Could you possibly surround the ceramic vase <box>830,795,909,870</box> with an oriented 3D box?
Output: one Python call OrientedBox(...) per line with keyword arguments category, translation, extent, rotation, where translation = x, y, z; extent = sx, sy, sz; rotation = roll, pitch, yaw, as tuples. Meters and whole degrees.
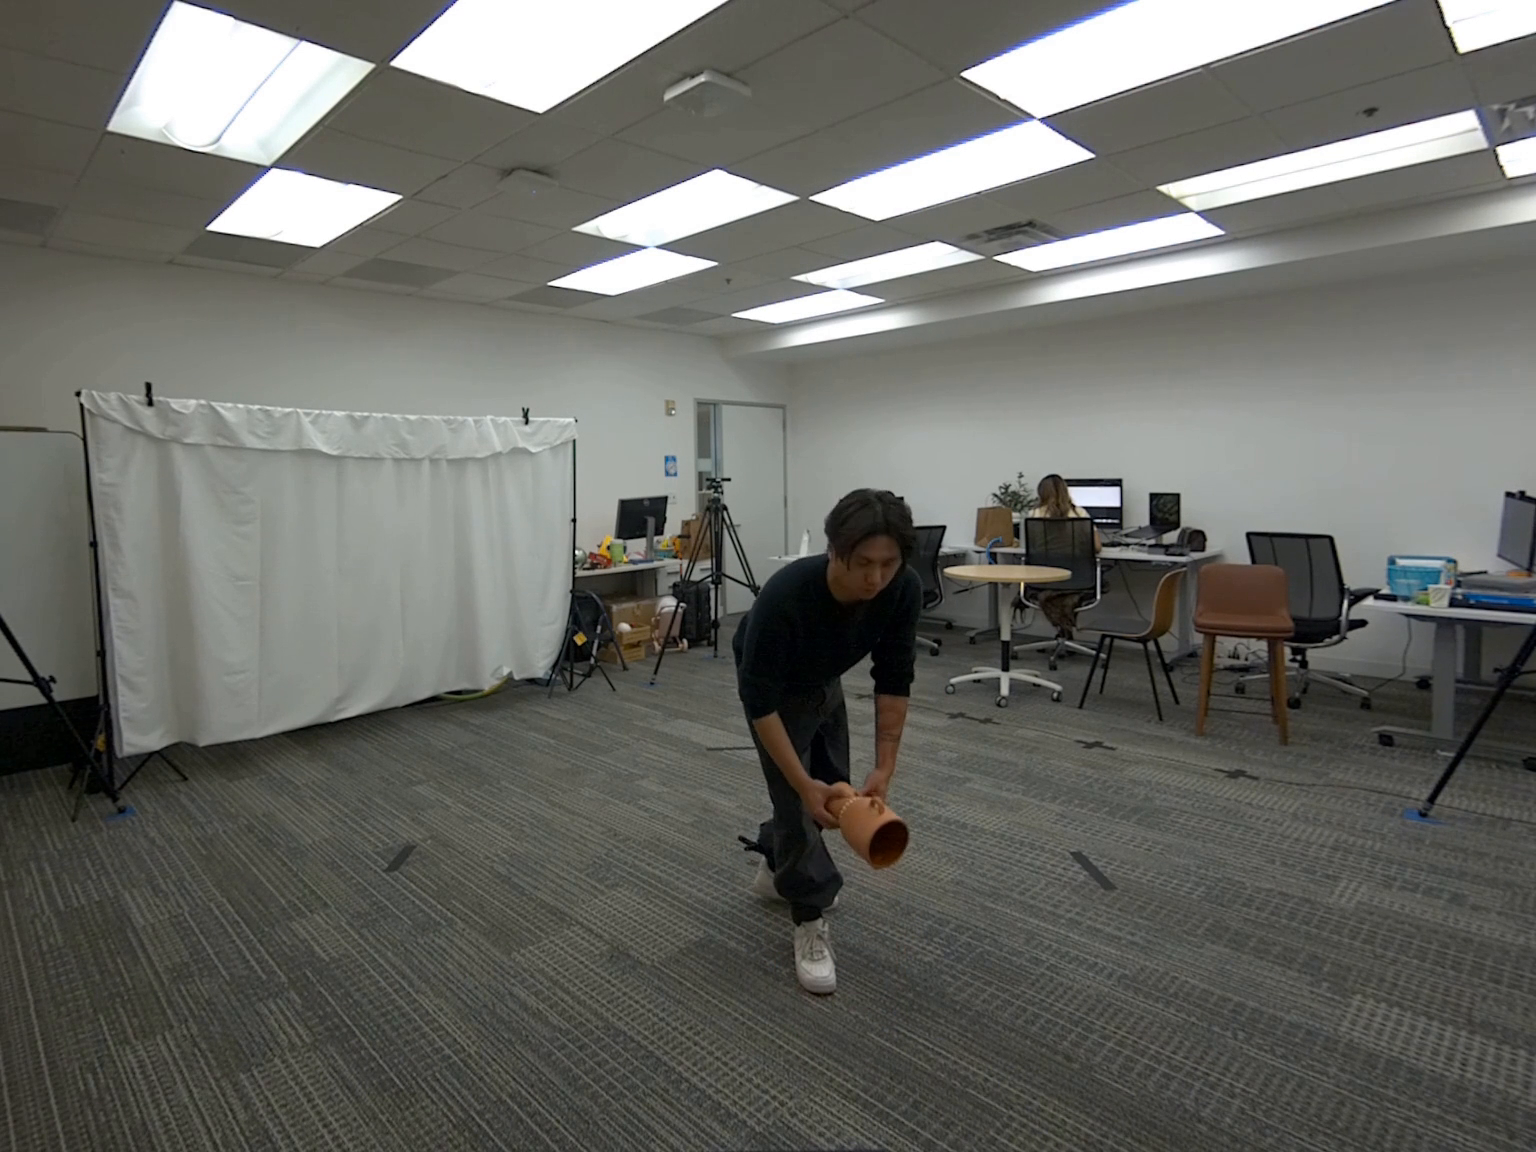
OrientedBox(category="ceramic vase", translation=(0.238, 0.619, 2.150), extent=(0.130, 0.159, 0.227), rotation=(36, -5, -33))
